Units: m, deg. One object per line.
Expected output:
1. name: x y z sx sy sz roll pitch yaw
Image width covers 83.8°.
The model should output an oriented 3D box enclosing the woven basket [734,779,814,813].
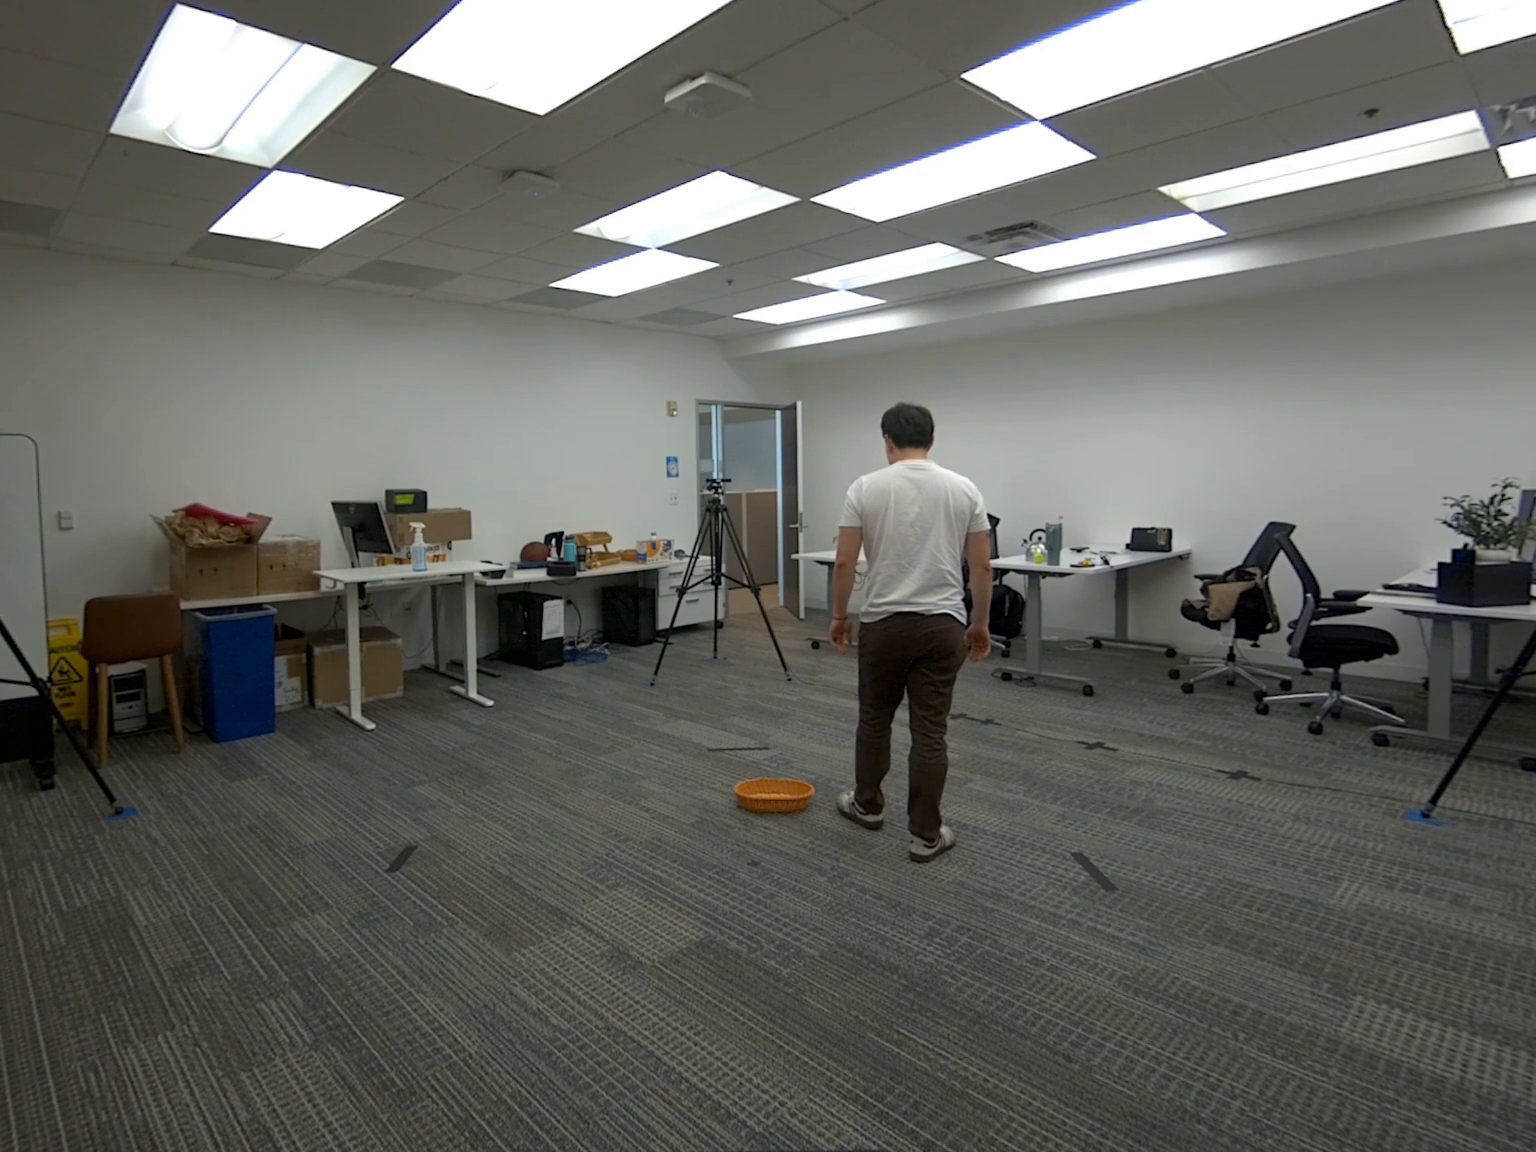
1. woven basket: 0.023 0.942 3.659 0.352 0.073 0.252 0 5 5
